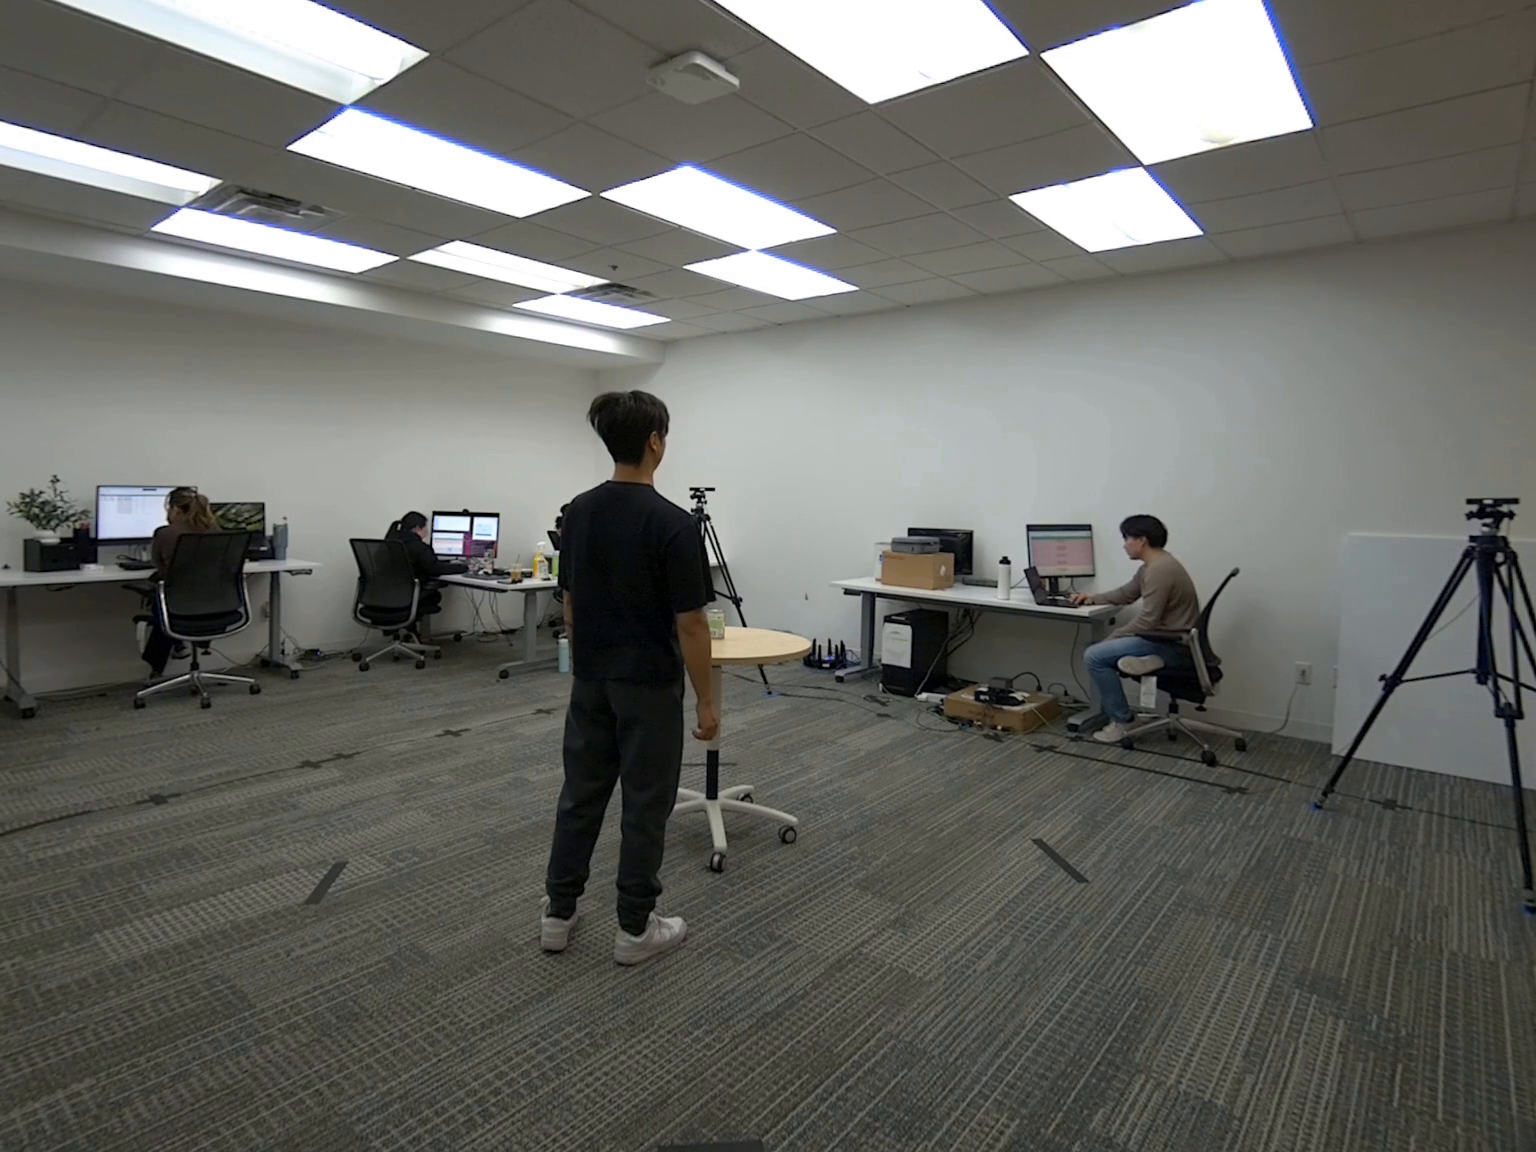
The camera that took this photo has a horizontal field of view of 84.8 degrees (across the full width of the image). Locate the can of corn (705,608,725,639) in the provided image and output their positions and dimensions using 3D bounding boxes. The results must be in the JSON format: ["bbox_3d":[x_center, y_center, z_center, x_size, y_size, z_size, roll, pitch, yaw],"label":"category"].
[{"bbox_3d":[-0.223,0.195,3.470,0.074,0.111,0.074,4,1,-2],"label":"can of corn"}]
